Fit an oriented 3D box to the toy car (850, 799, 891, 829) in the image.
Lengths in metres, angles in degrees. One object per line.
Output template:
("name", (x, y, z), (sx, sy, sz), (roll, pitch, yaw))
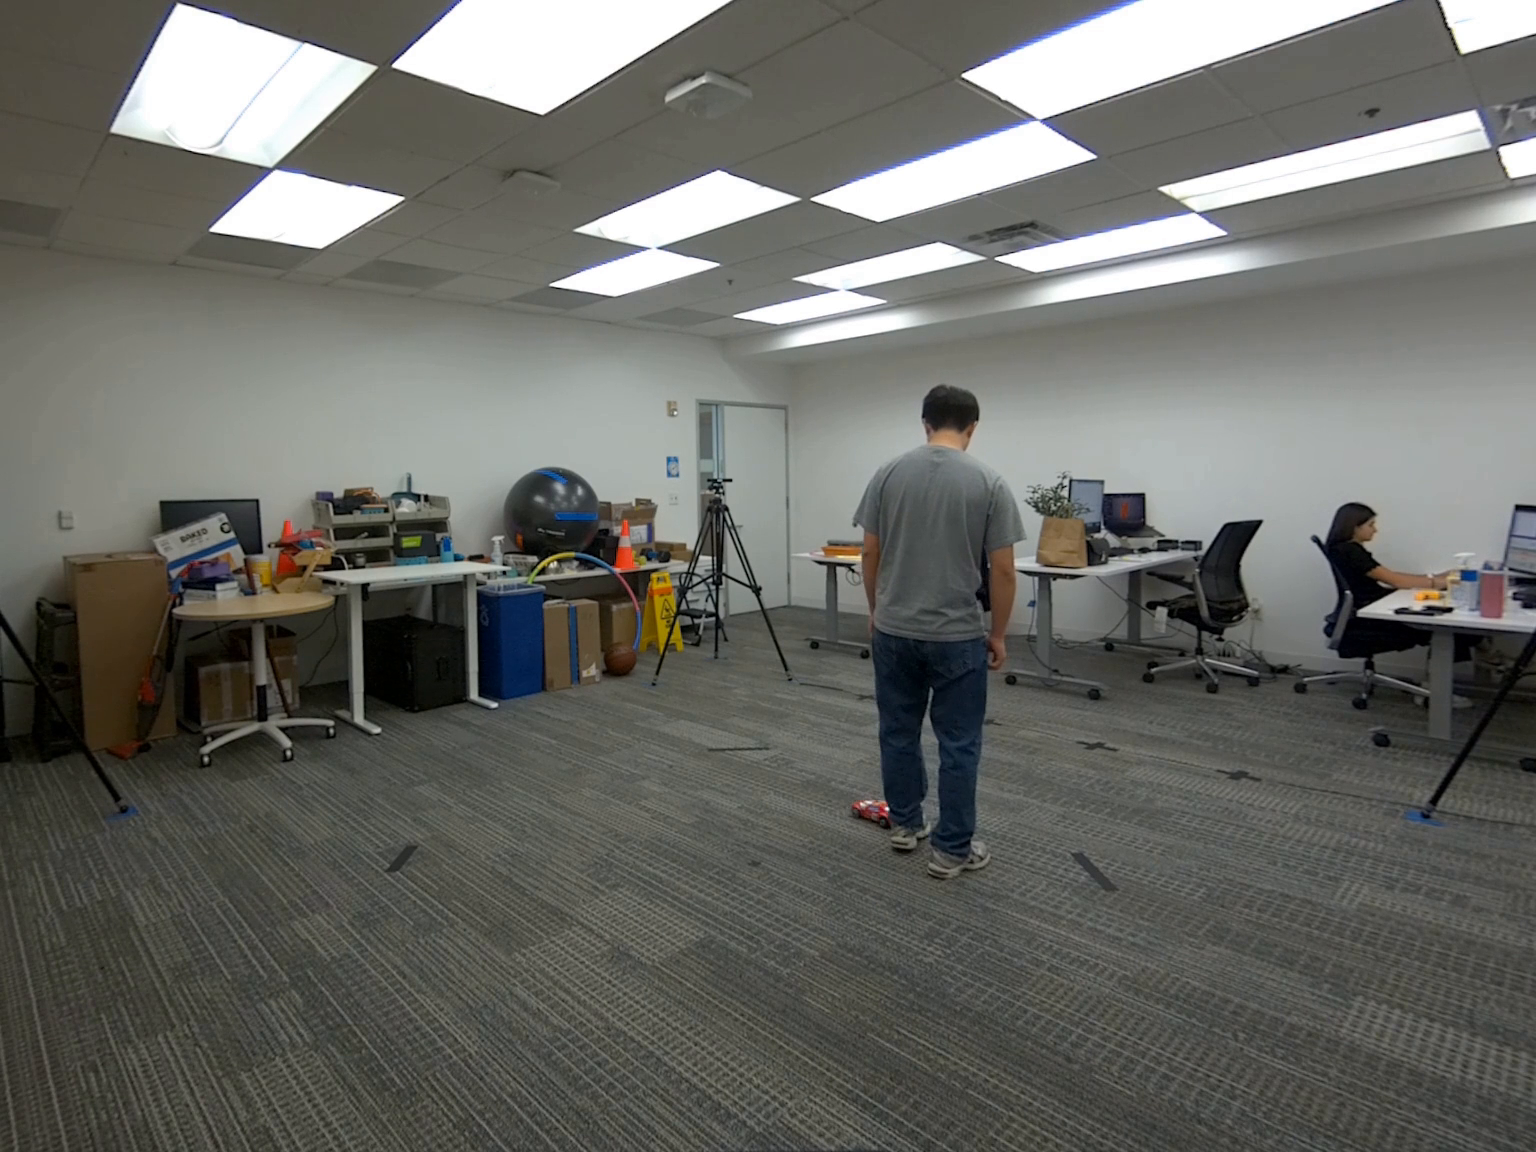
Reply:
("toy car", (0.468, 0.965, 3.472), (0.127, 0.083, 0.260), (-5, -3, -41))
